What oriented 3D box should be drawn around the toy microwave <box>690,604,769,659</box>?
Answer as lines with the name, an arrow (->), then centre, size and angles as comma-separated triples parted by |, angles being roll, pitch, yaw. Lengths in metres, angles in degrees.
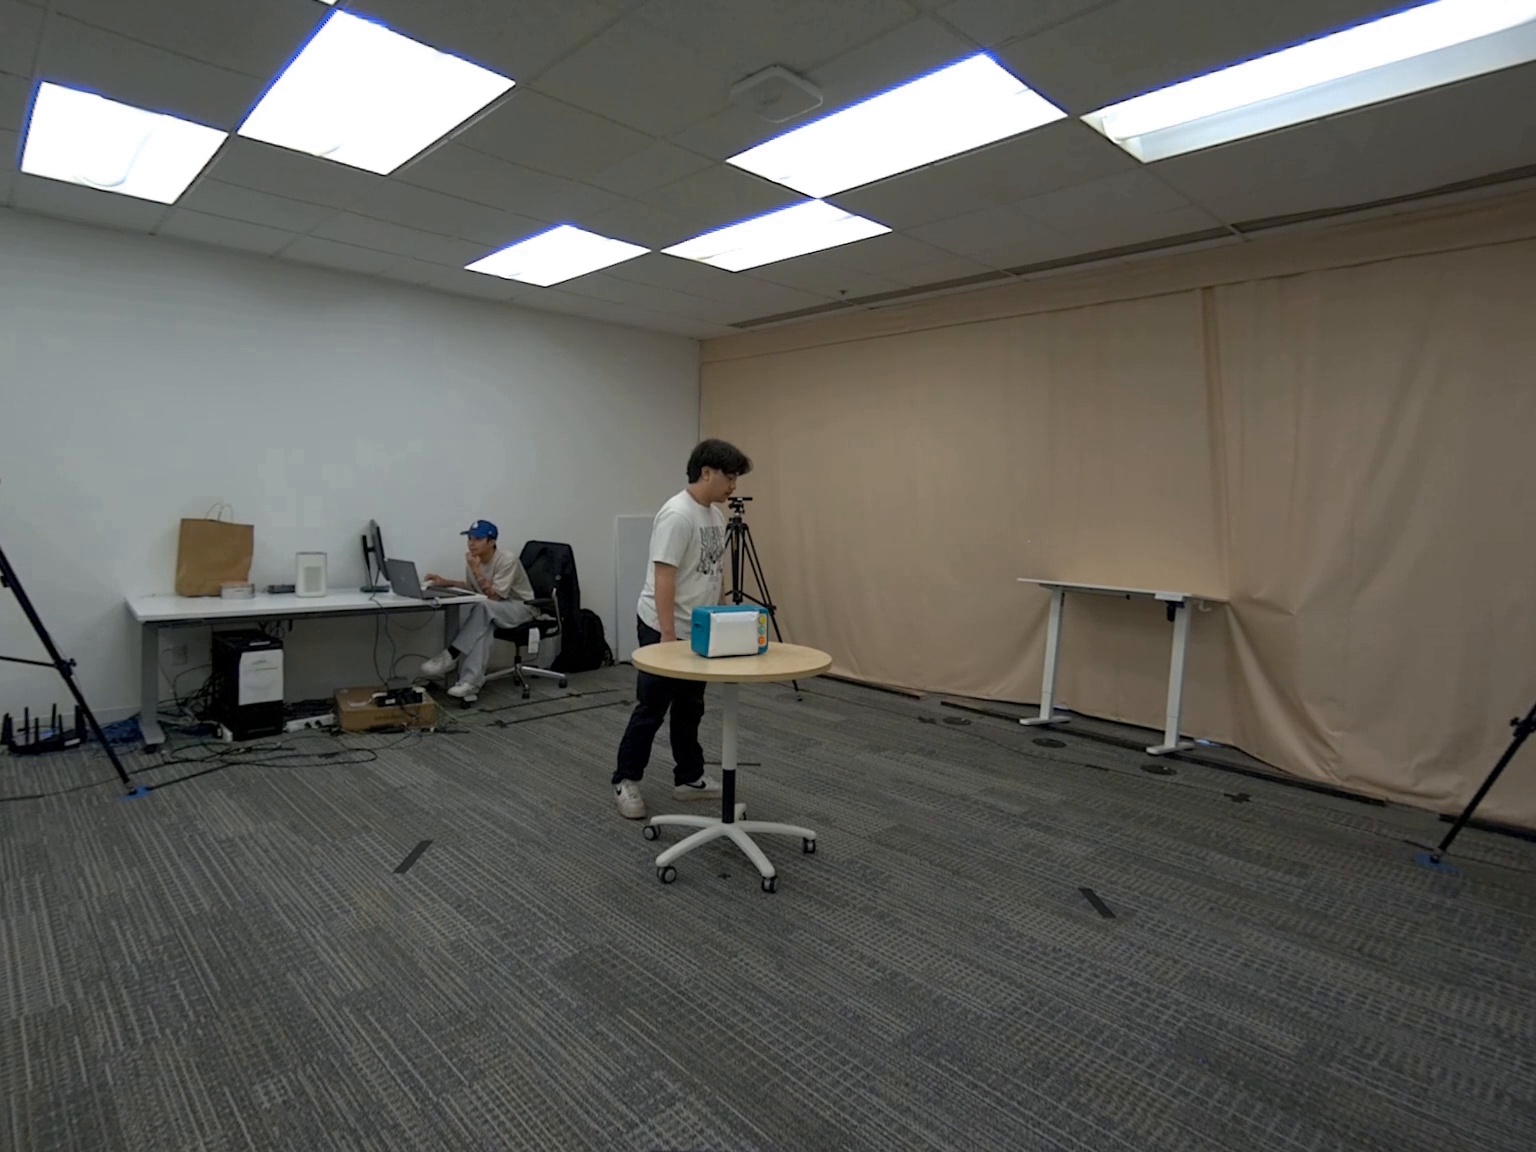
toy microwave -> -0.148, 0.210, 3.237 | 0.280, 0.184, 0.156 | -1, 4, -30
